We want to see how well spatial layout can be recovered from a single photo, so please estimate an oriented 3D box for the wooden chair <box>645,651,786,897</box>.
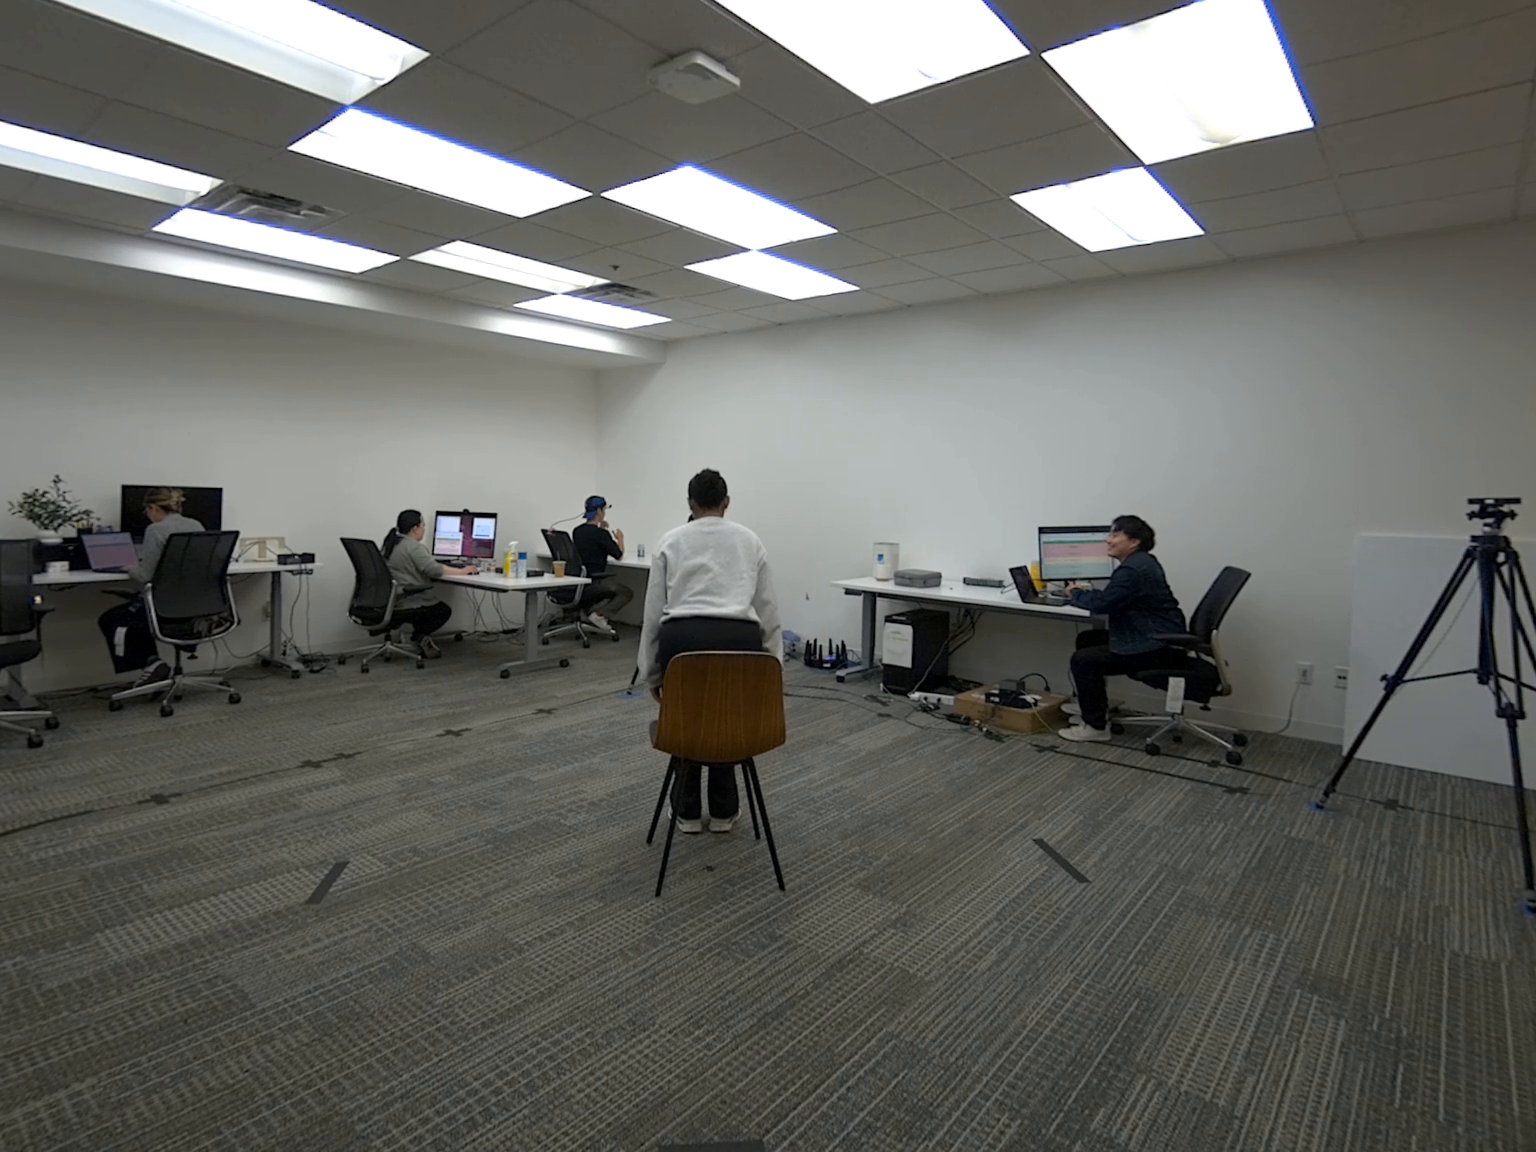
[{"bbox_3d":[-0.210,0.635,3.112,0.473,0.872,0.532,0,7,-11],"label":"wooden chair"}]
